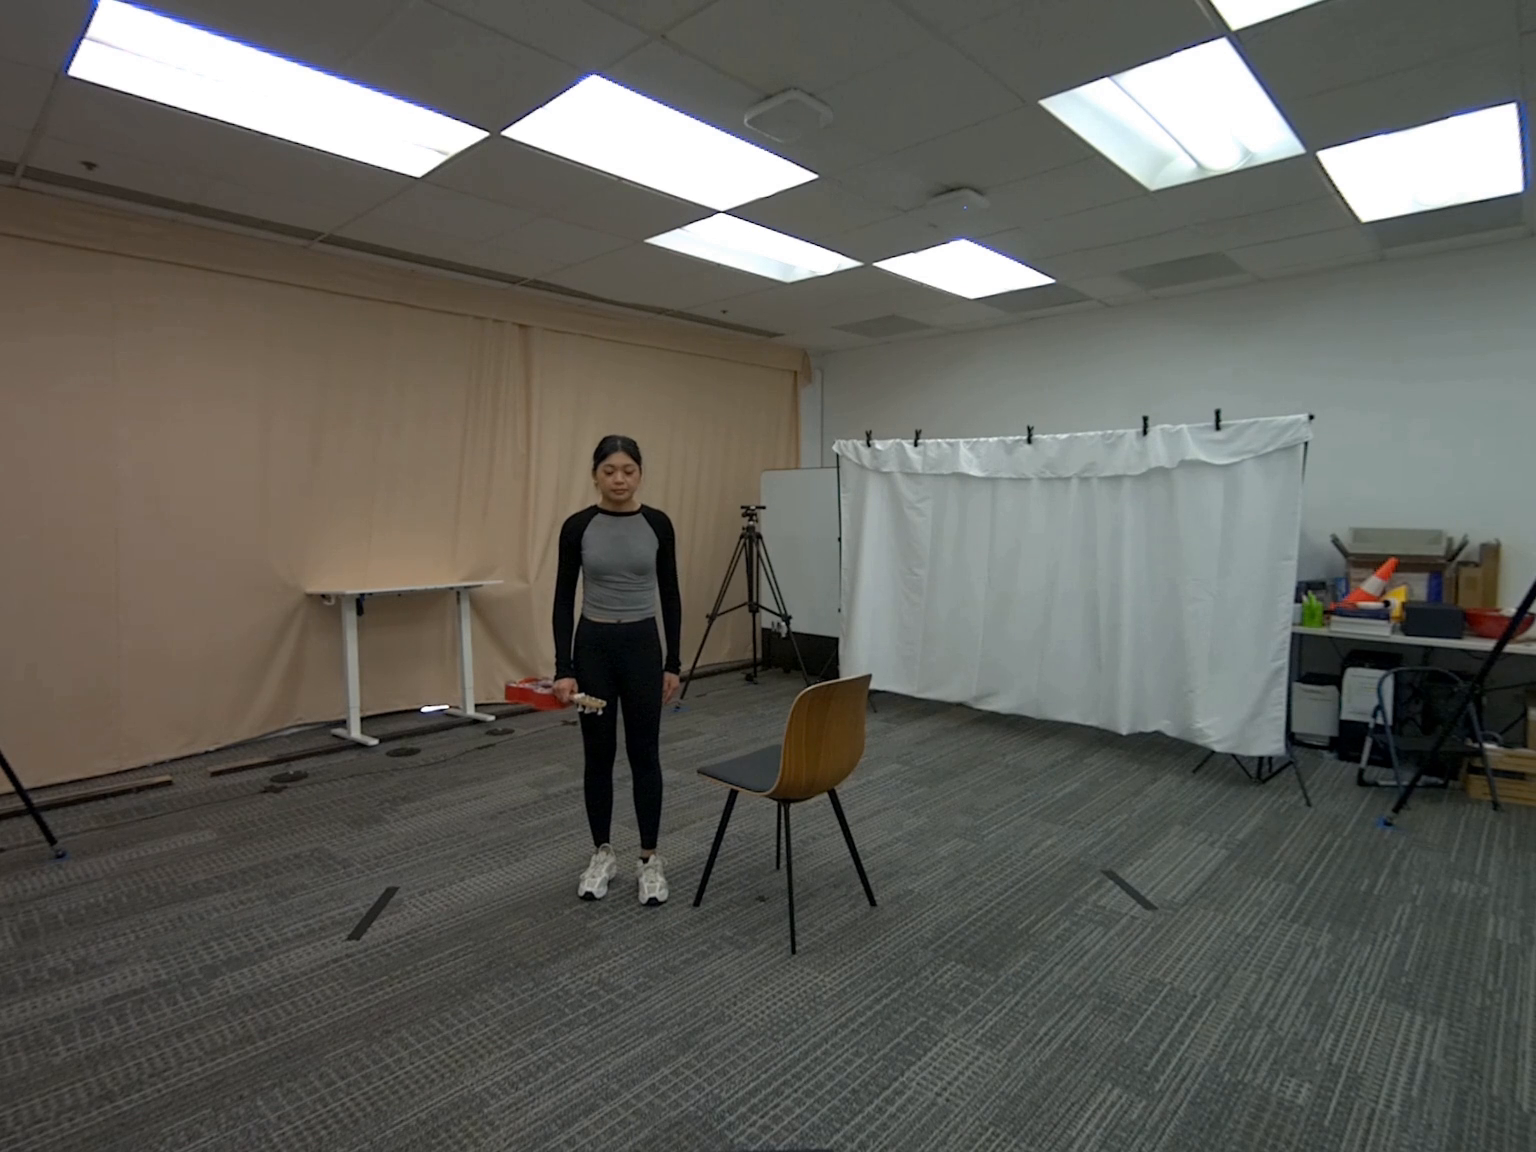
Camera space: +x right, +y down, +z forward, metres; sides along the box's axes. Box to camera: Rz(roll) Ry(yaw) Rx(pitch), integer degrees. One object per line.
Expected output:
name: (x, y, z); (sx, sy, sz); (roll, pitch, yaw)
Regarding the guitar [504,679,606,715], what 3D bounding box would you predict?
guitar: (-0.752, 0.431, 2.906); (0.187, 0.070, 0.514); (-2, 7, -37)
